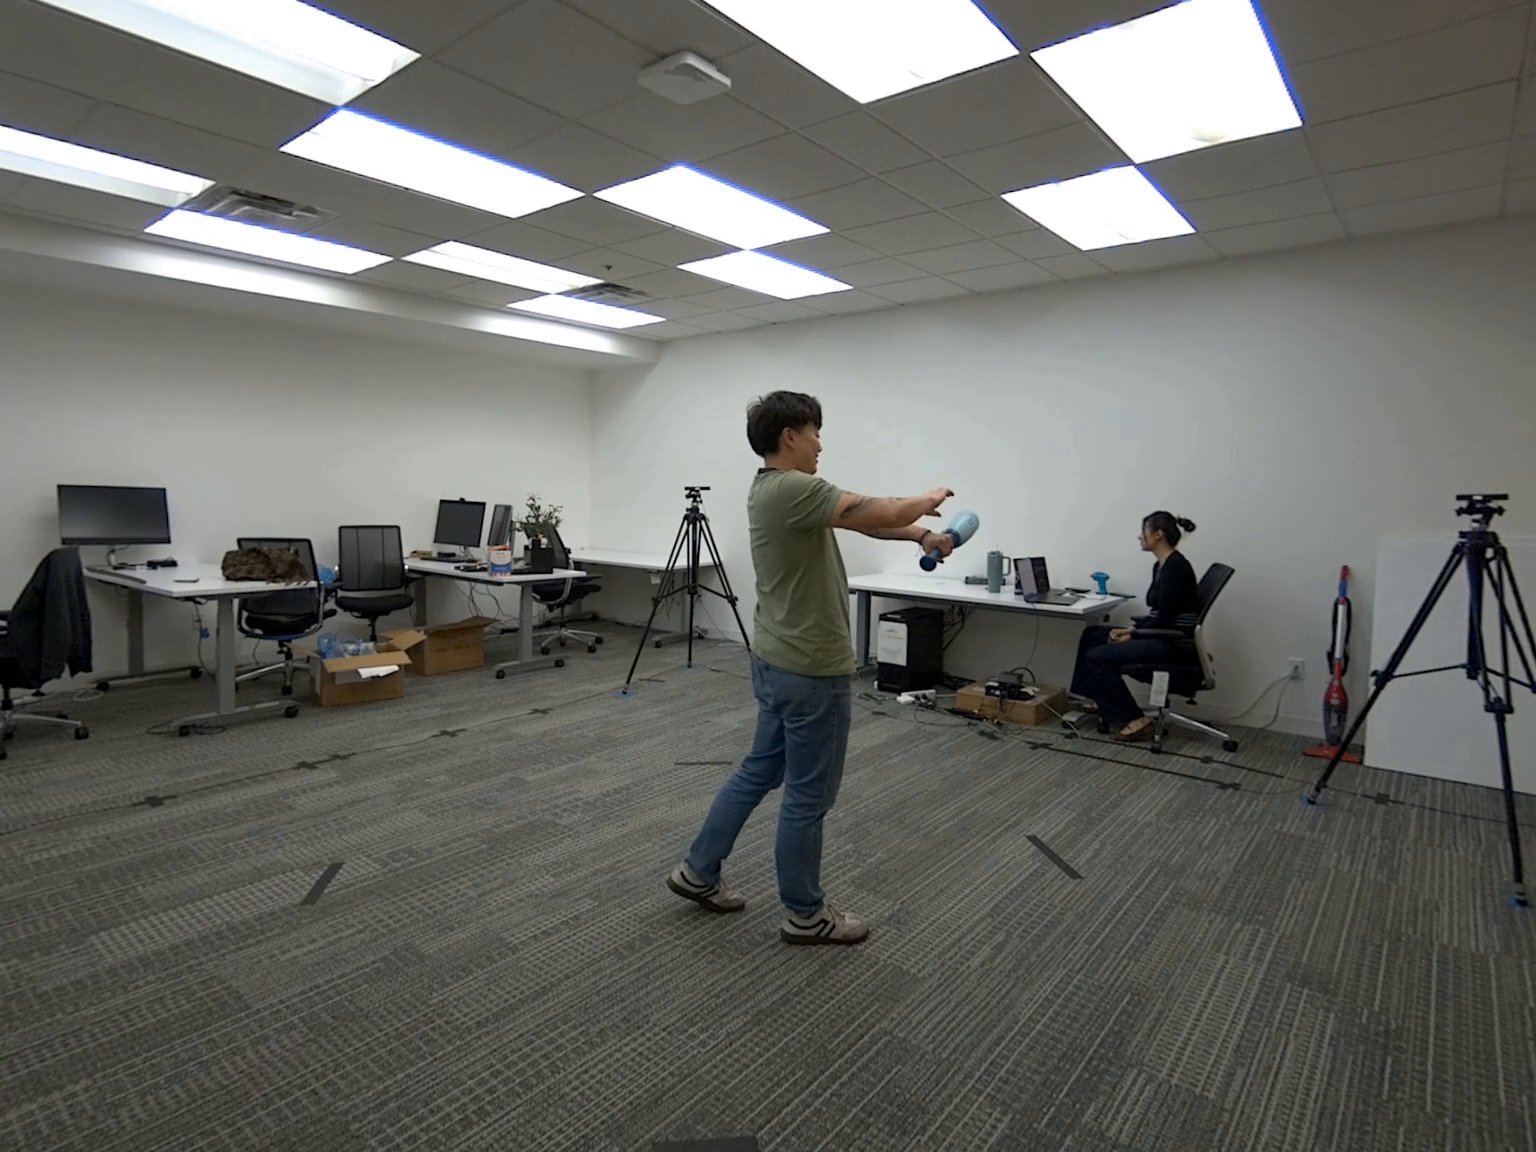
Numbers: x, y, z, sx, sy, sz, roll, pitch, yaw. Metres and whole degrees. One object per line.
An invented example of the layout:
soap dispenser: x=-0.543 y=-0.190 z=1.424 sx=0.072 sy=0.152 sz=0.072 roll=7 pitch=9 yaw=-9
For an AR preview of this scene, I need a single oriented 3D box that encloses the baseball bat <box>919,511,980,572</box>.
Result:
baseball bat: x=0.569 y=-0.106 z=2.702 sx=0.091 sy=0.088 sz=0.536 roll=2 pitch=17 yaw=26
